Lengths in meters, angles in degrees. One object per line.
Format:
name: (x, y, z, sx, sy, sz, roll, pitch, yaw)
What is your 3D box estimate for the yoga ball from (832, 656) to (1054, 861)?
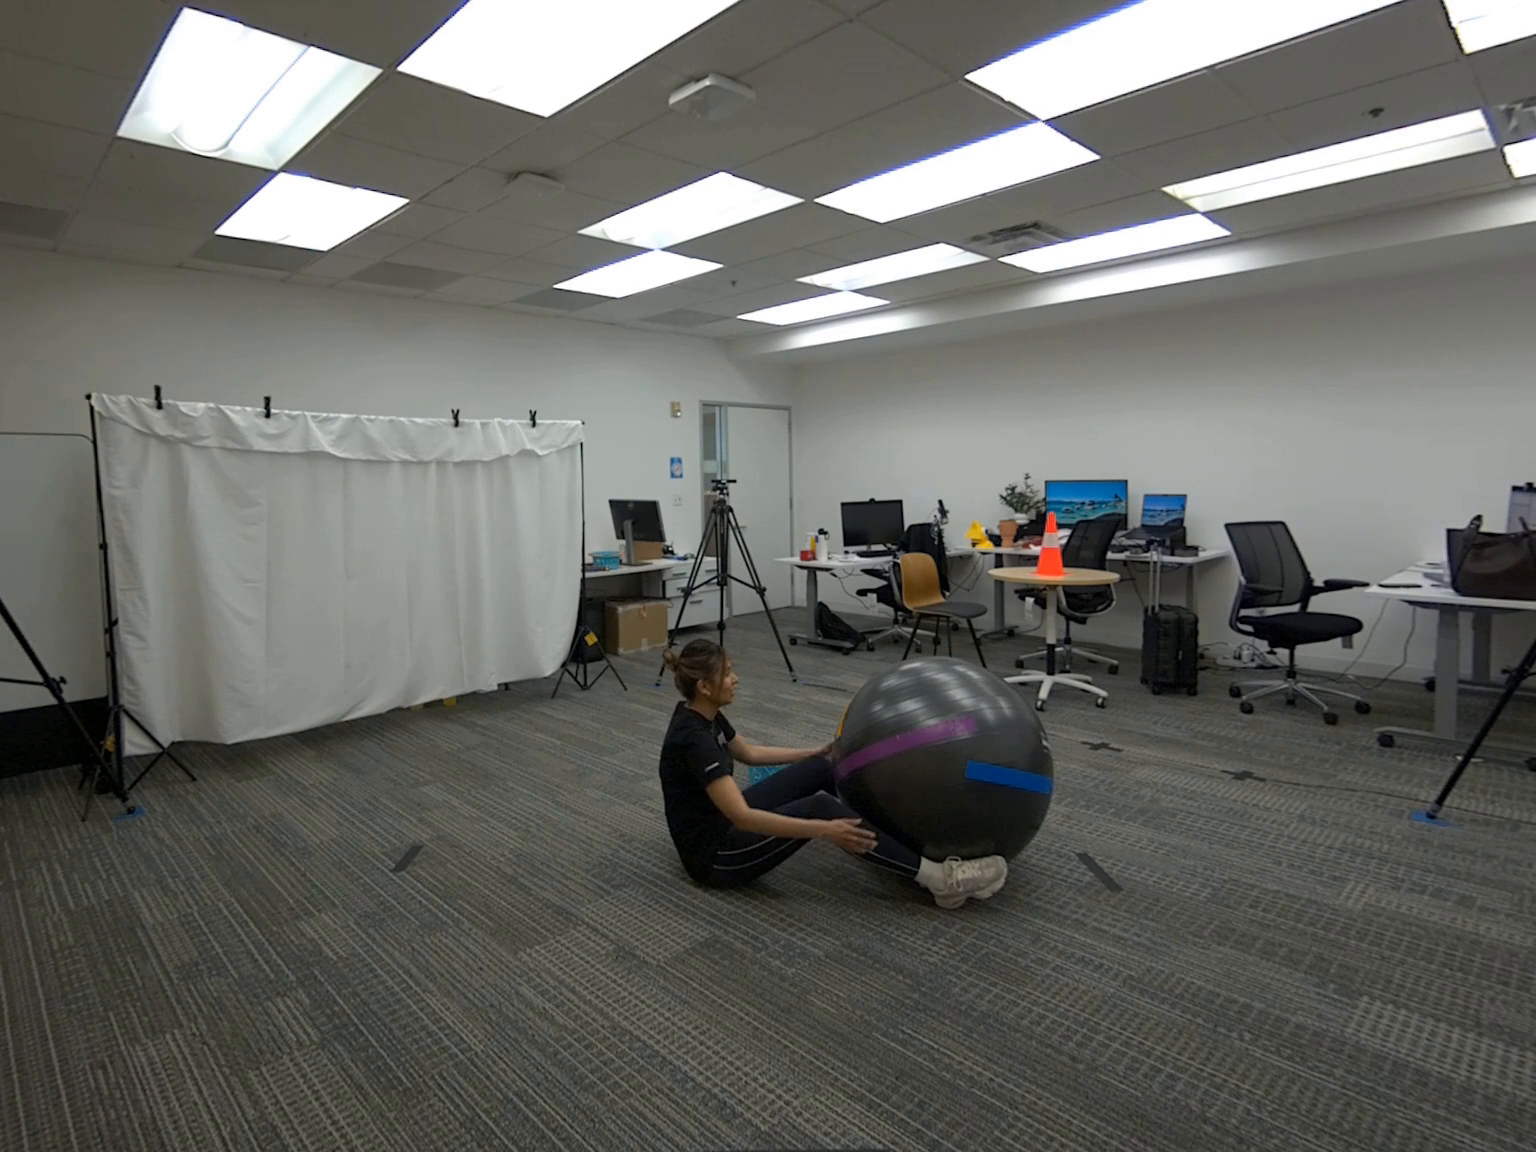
yoga ball: (0.623, 0.674, 3.036, 0.757, 0.755, 0.762, -1, 5, -2)
